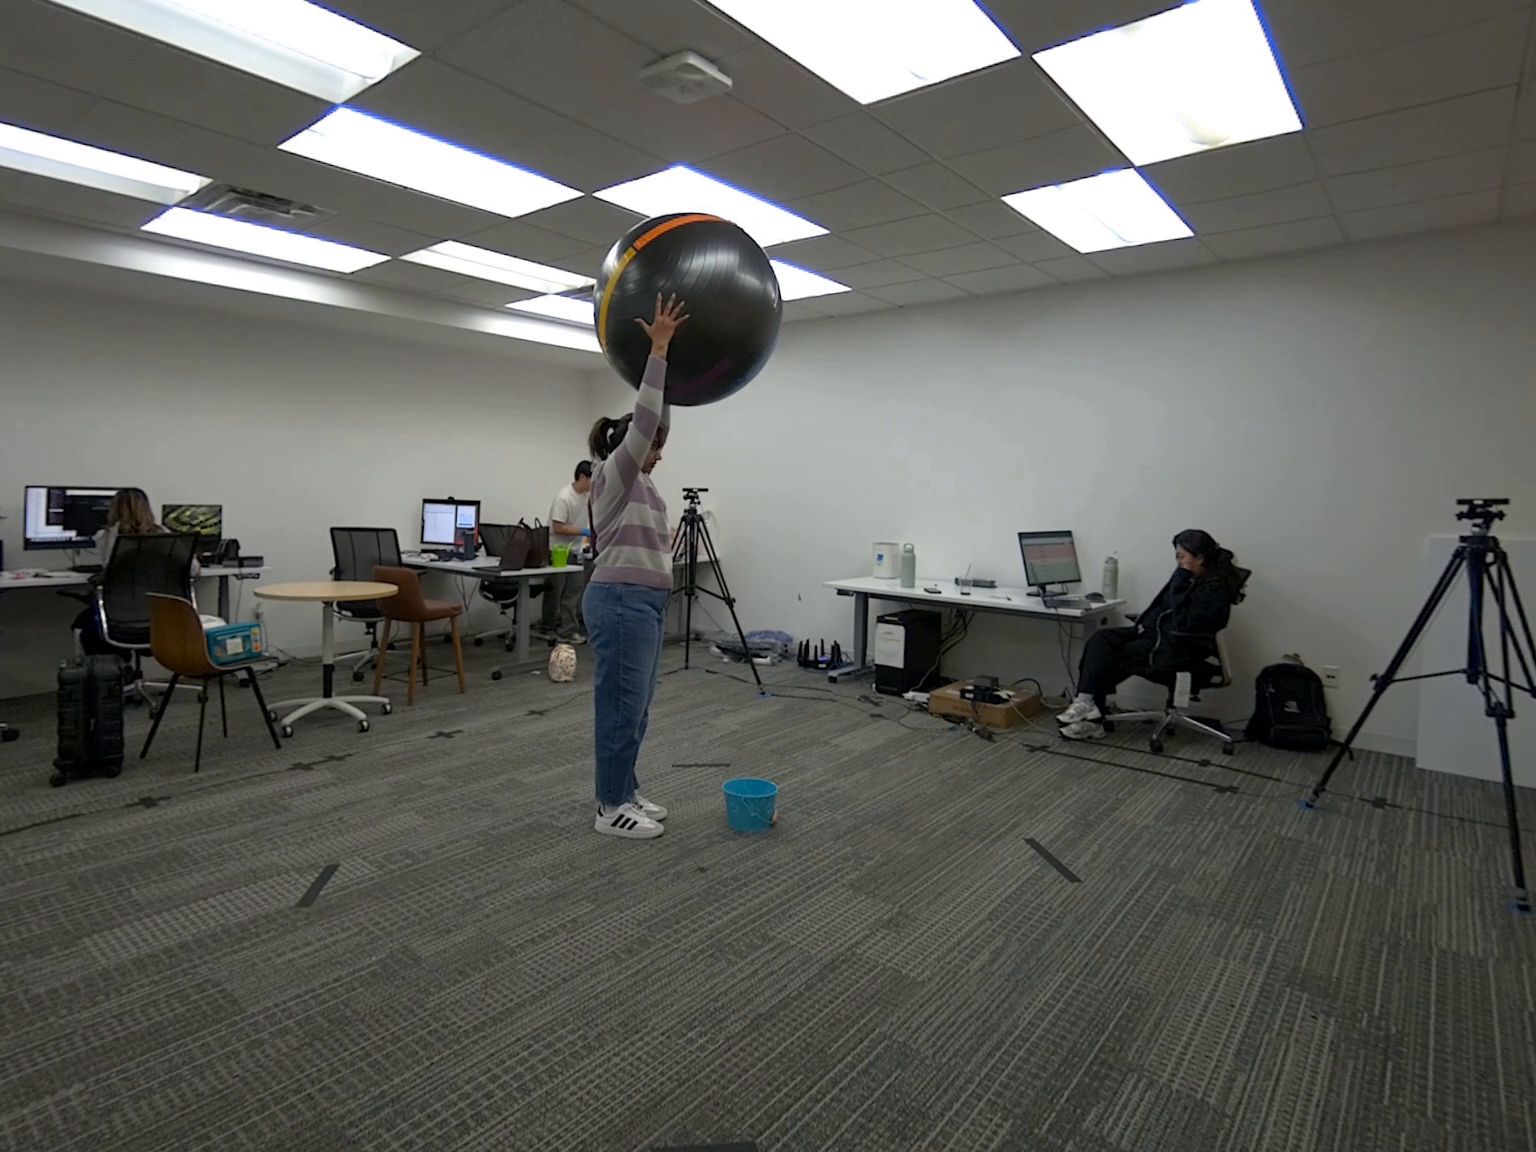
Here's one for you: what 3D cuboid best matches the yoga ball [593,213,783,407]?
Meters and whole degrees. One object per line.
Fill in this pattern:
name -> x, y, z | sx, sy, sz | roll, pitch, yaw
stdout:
yoga ball -> -0.327, -1.059, 3.419 | 0.757, 0.756, 0.761 | 1, 4, -2
